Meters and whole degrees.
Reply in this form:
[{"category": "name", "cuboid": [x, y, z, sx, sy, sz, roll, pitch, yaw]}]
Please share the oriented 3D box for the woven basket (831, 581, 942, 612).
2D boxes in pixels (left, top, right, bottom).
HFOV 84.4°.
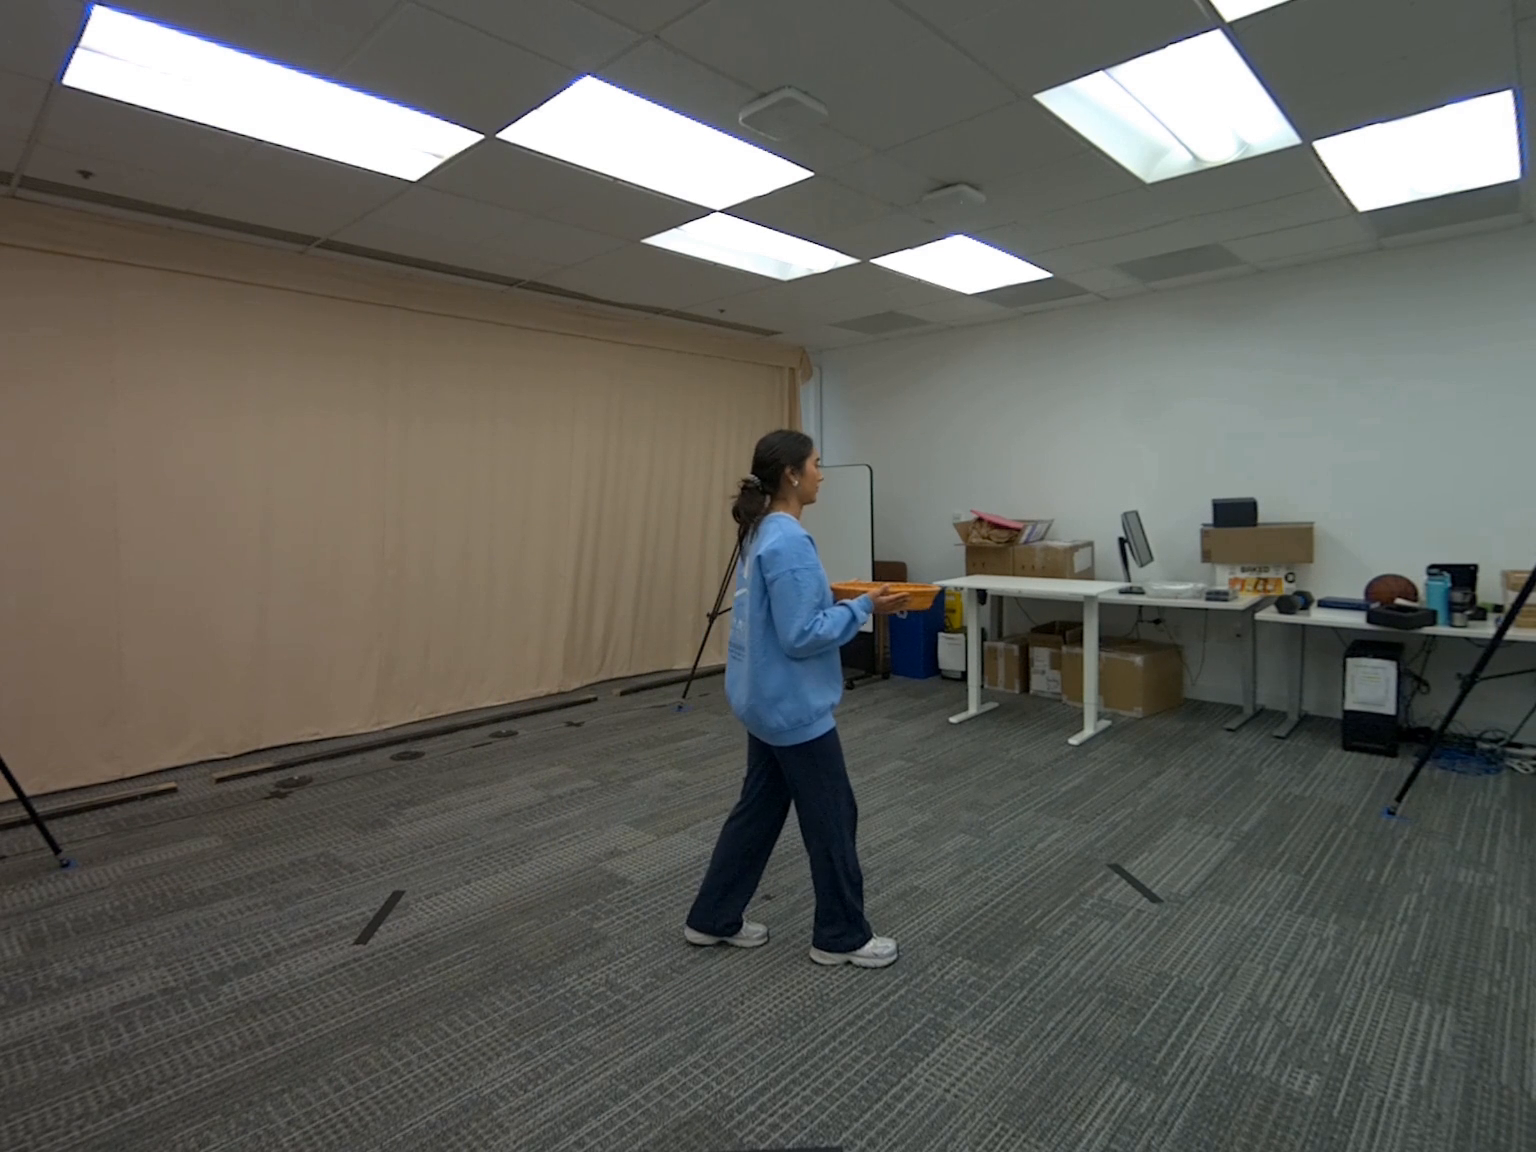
[{"category": "woven basket", "cuboid": [0.352, 0.073, 2.589, 0.349, 0.073, 0.254, 0, 5, -4]}]
